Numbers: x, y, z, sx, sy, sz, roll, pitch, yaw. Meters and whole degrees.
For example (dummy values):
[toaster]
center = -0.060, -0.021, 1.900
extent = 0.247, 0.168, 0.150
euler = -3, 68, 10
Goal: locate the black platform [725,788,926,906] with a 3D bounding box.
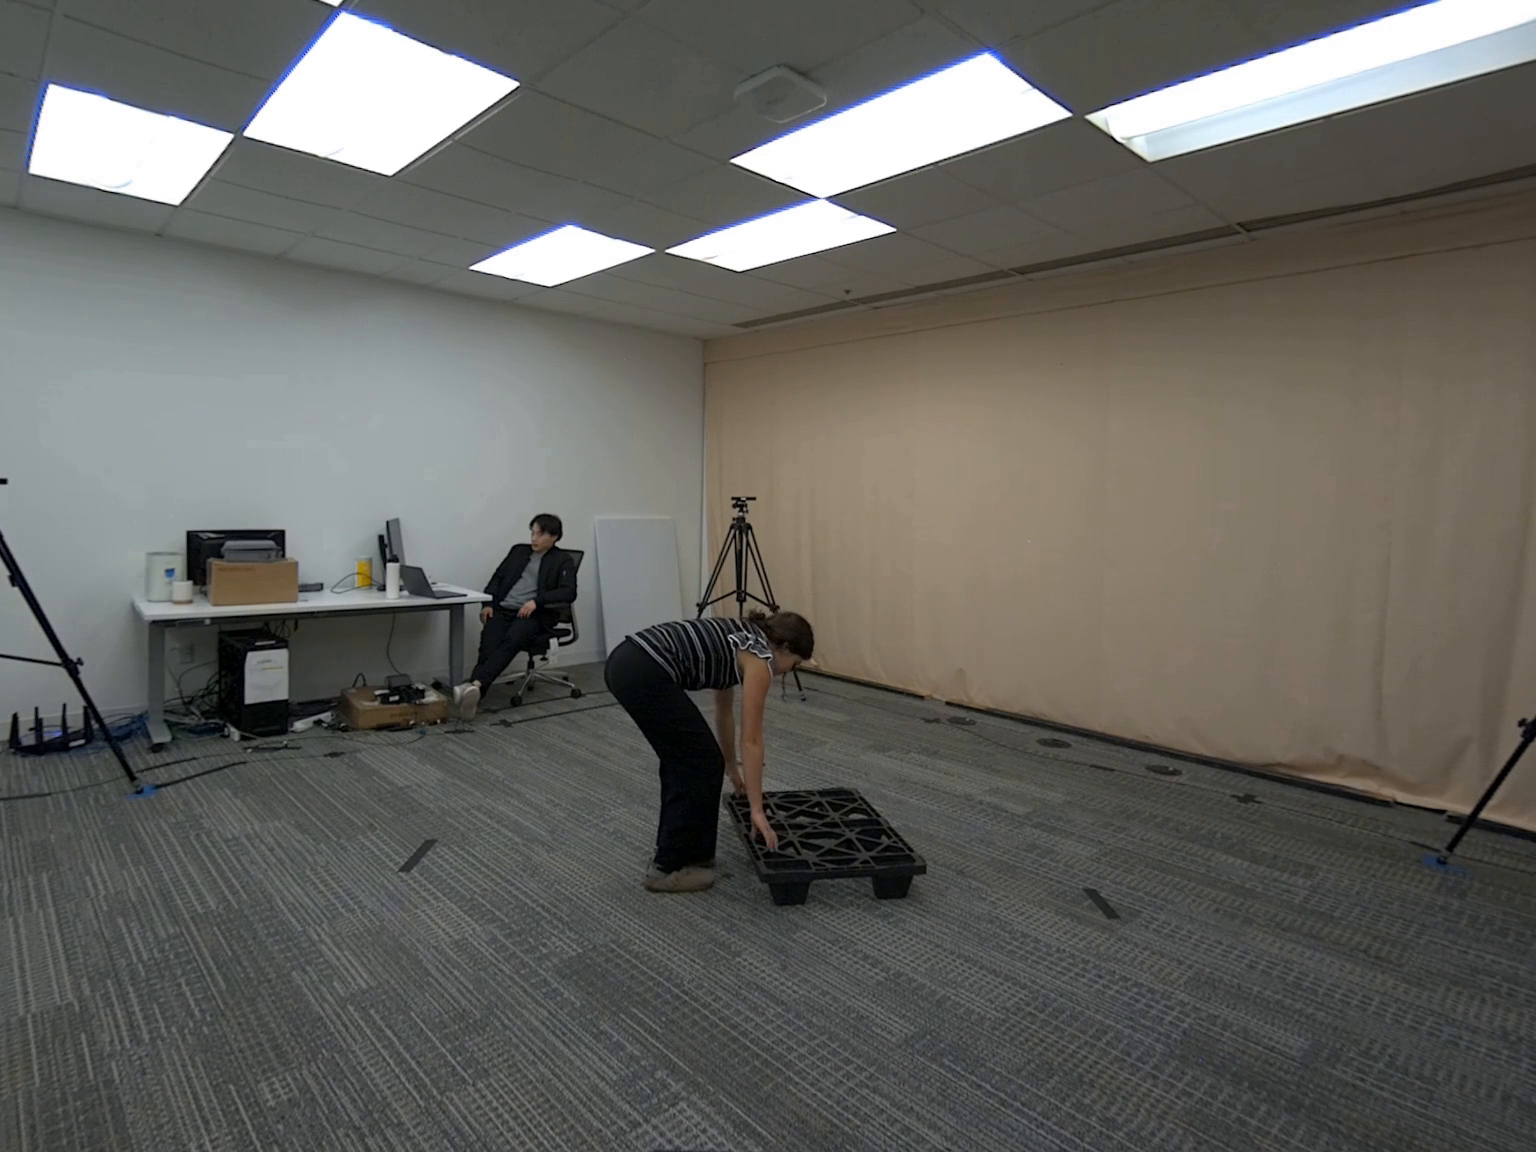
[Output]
[black platform]
center = 0.172, 1.031, 3.272
extent = 0.600, 0.143, 0.815
euler = 1, 5, -12
